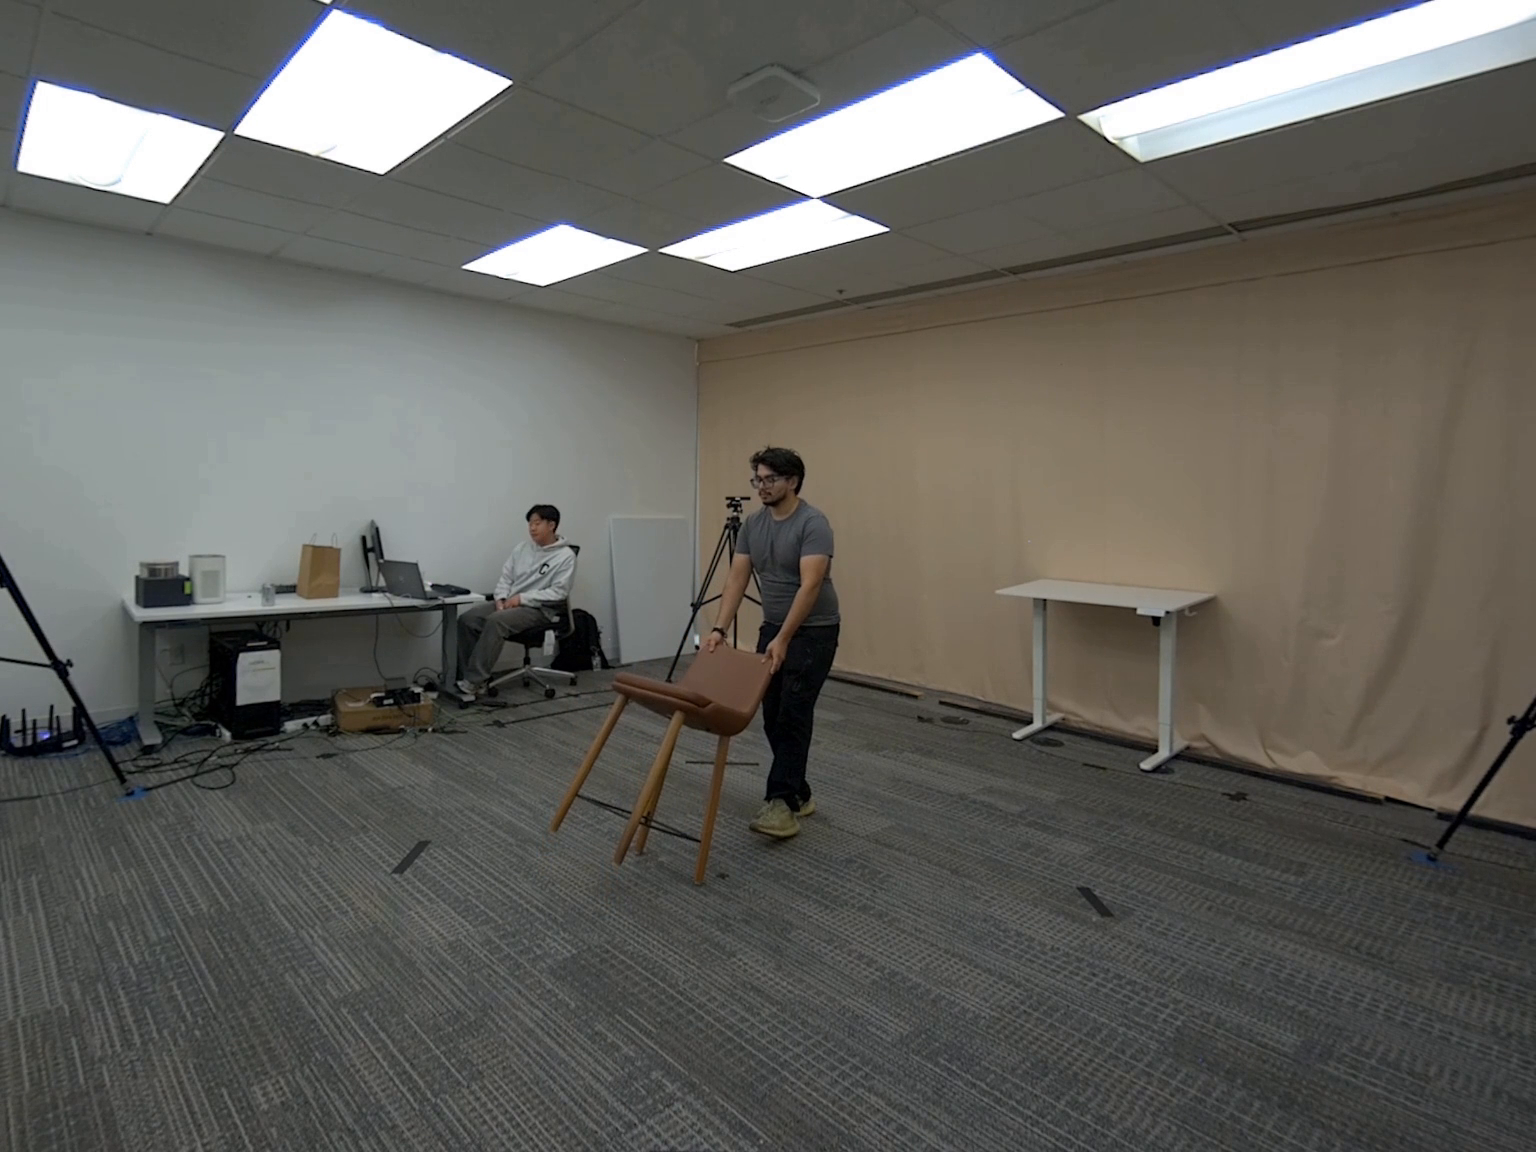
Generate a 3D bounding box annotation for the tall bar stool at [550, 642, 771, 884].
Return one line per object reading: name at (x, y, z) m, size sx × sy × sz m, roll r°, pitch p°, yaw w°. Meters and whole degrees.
tall bar stool at (-0.365, 0.612, 3.136) m, size 0.468 × 0.895 × 0.453 m, roll 4°, pitch -23°, yaw 44°
